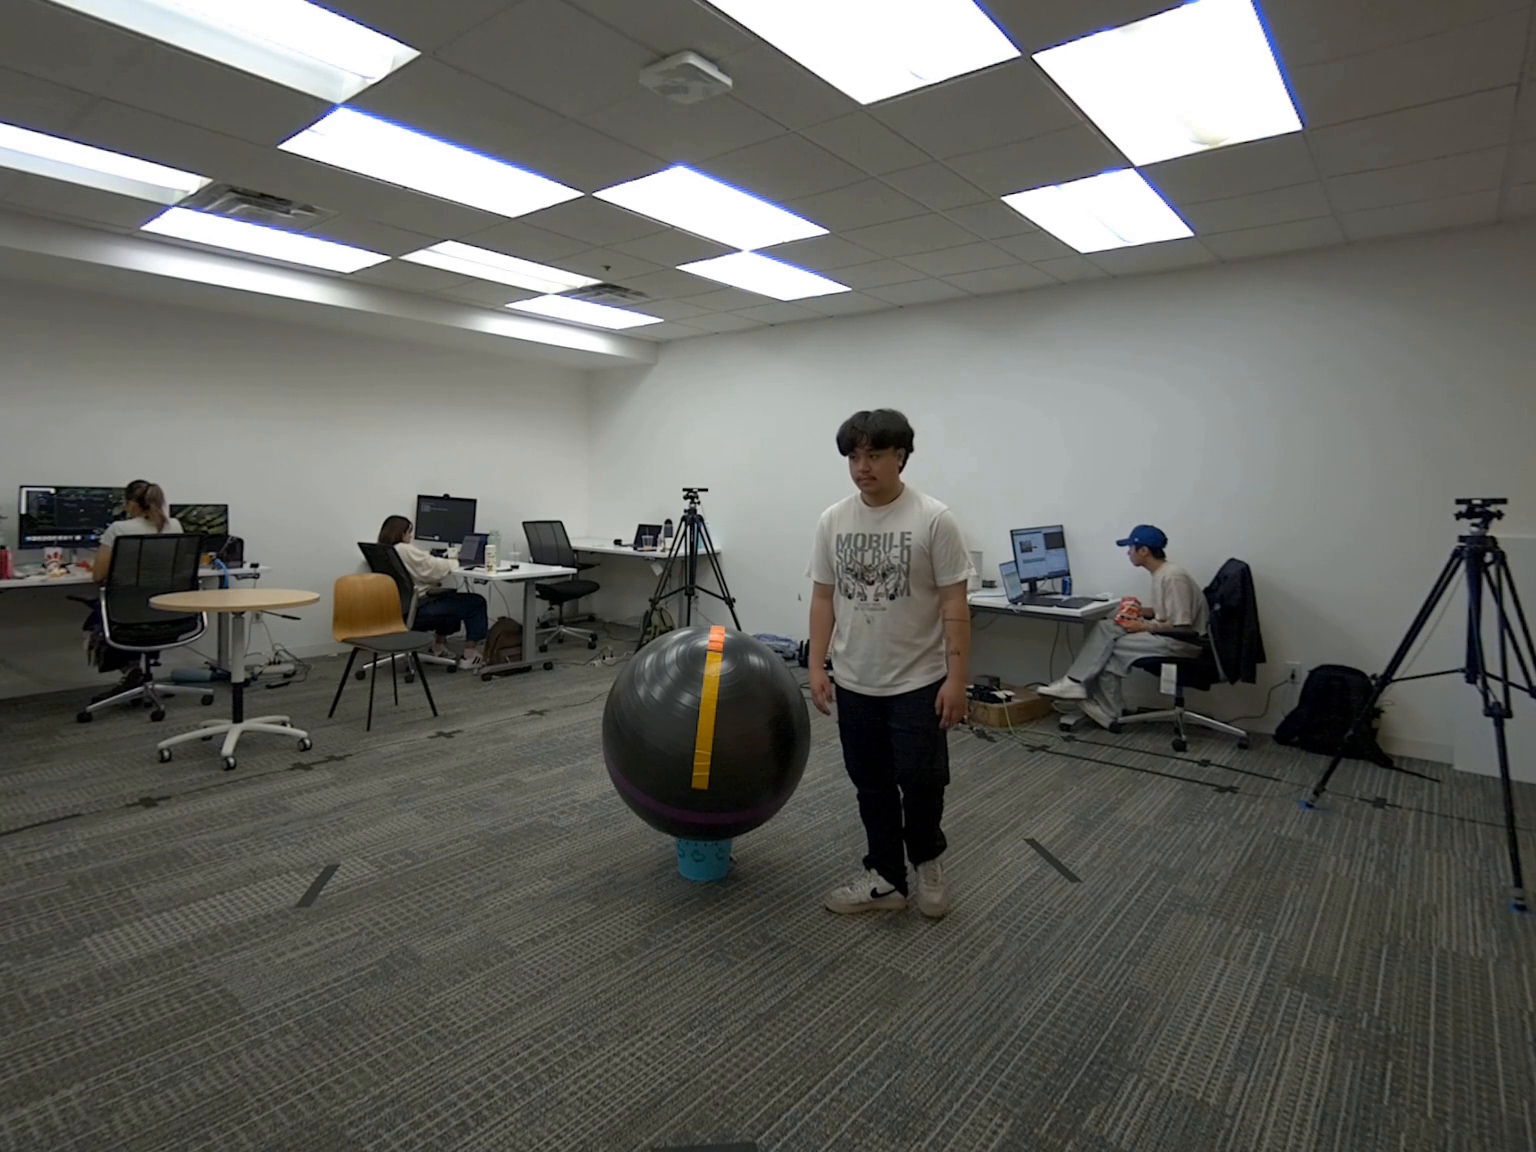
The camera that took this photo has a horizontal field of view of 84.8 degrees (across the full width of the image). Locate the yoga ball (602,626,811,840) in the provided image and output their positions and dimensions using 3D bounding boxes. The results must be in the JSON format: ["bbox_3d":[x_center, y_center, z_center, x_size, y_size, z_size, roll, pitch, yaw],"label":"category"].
[{"bbox_3d":[-0.230,0.560,3.086,0.757,0.756,0.761,1,4,-2],"label":"yoga ball"}]
